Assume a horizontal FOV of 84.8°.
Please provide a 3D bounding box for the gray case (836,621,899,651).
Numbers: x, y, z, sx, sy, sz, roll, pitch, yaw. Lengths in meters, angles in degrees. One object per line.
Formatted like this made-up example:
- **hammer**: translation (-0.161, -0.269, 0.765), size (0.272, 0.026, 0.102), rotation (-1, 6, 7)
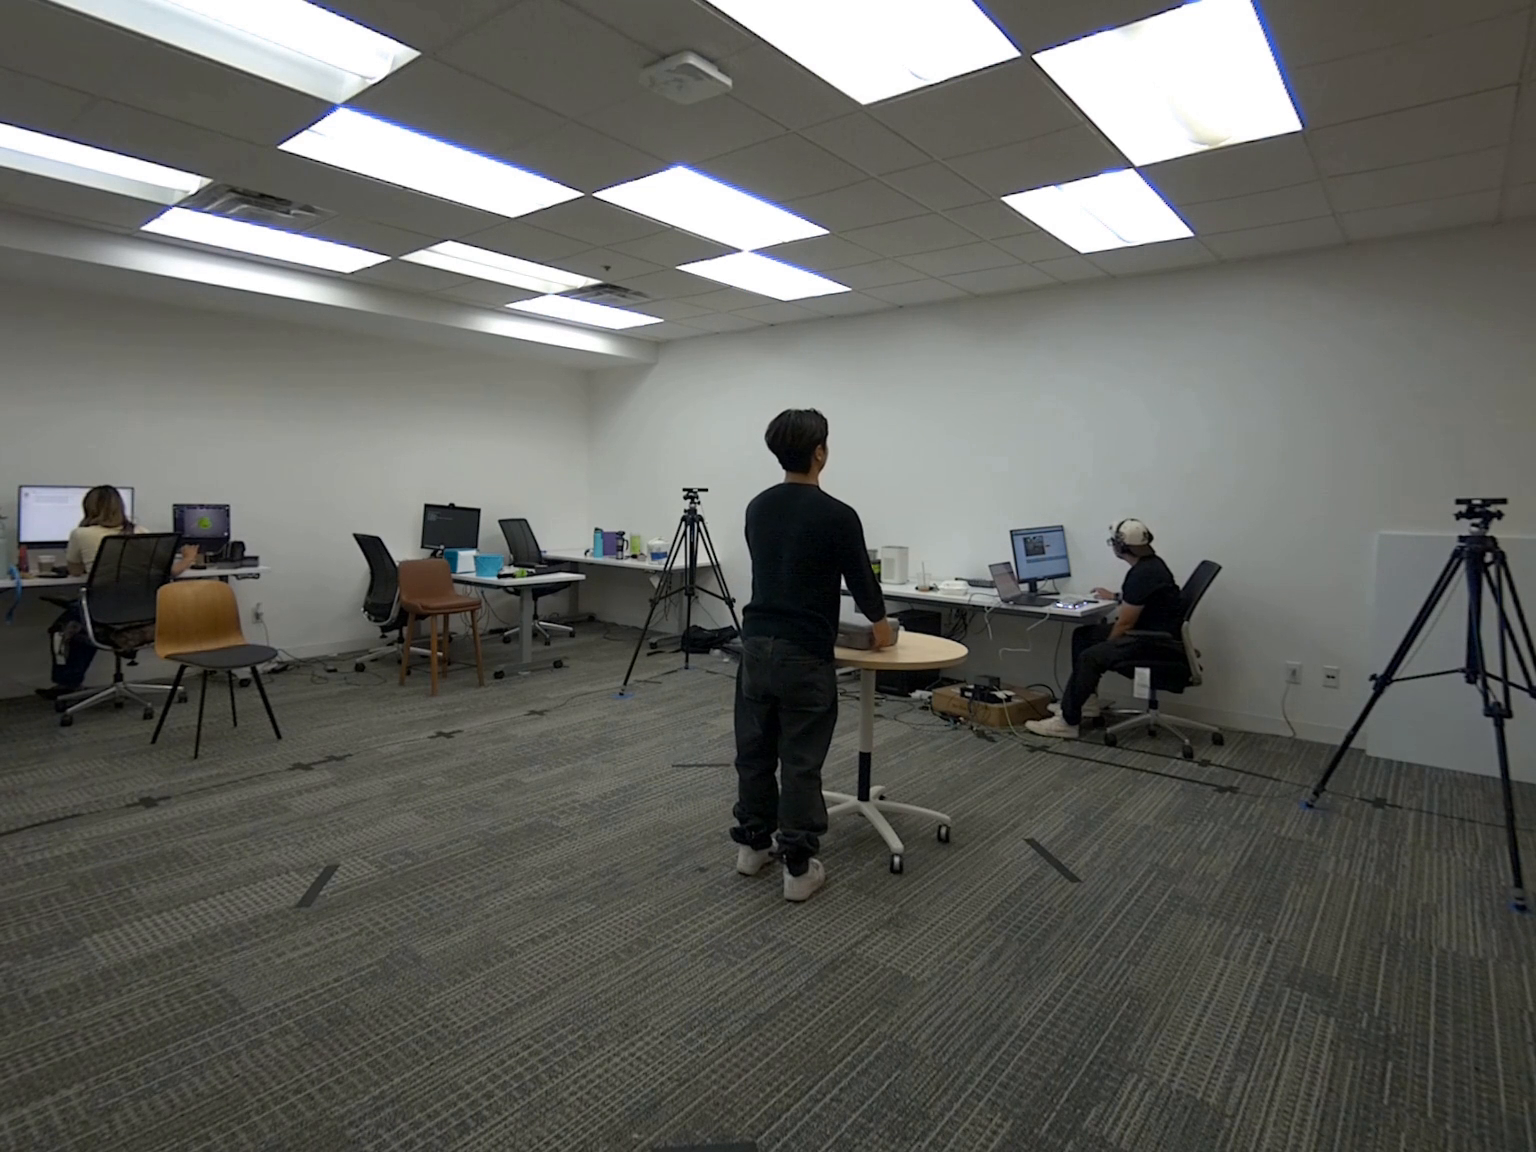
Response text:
- **gray case**: translation (0.362, 0.217, 3.417), size (0.266, 0.104, 0.253), rotation (8, 8, 43)
